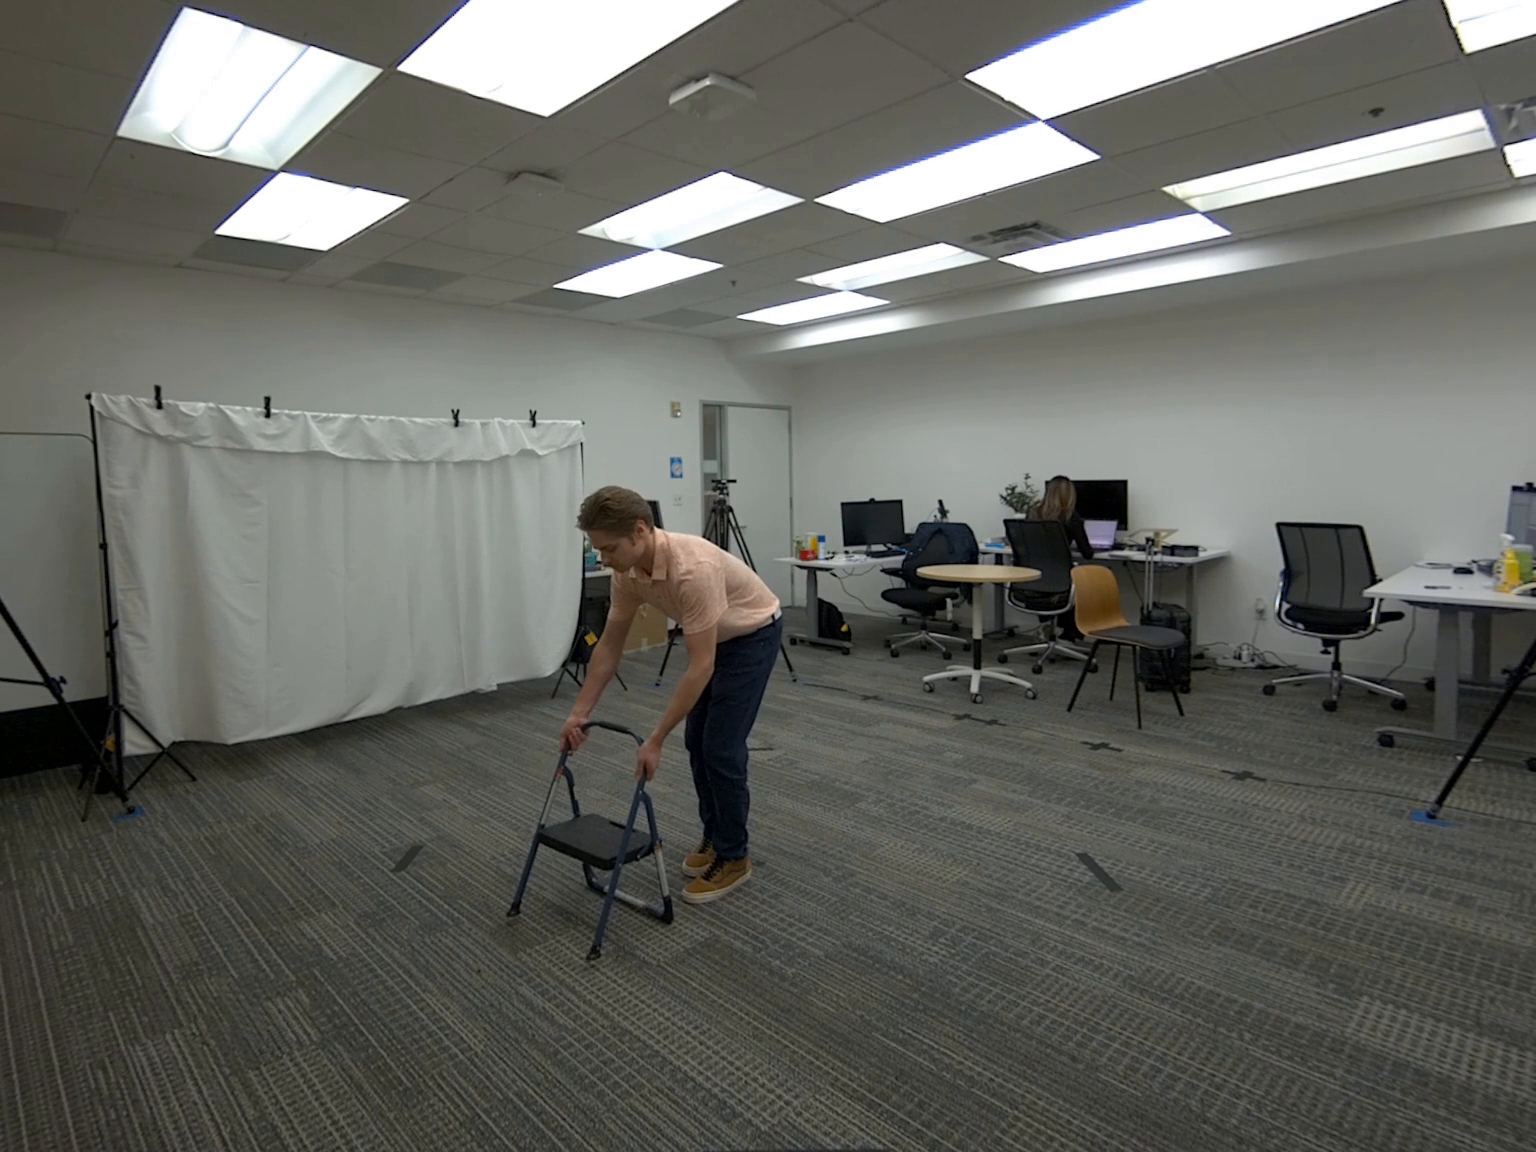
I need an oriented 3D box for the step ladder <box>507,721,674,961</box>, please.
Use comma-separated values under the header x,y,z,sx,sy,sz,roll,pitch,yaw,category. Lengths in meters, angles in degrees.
x,y,z,sx,sy,sz,roll,pitch,yaw,category
-0.549,0.782,2.712,0.443,0.606,0.339,2,1,40,step ladder
